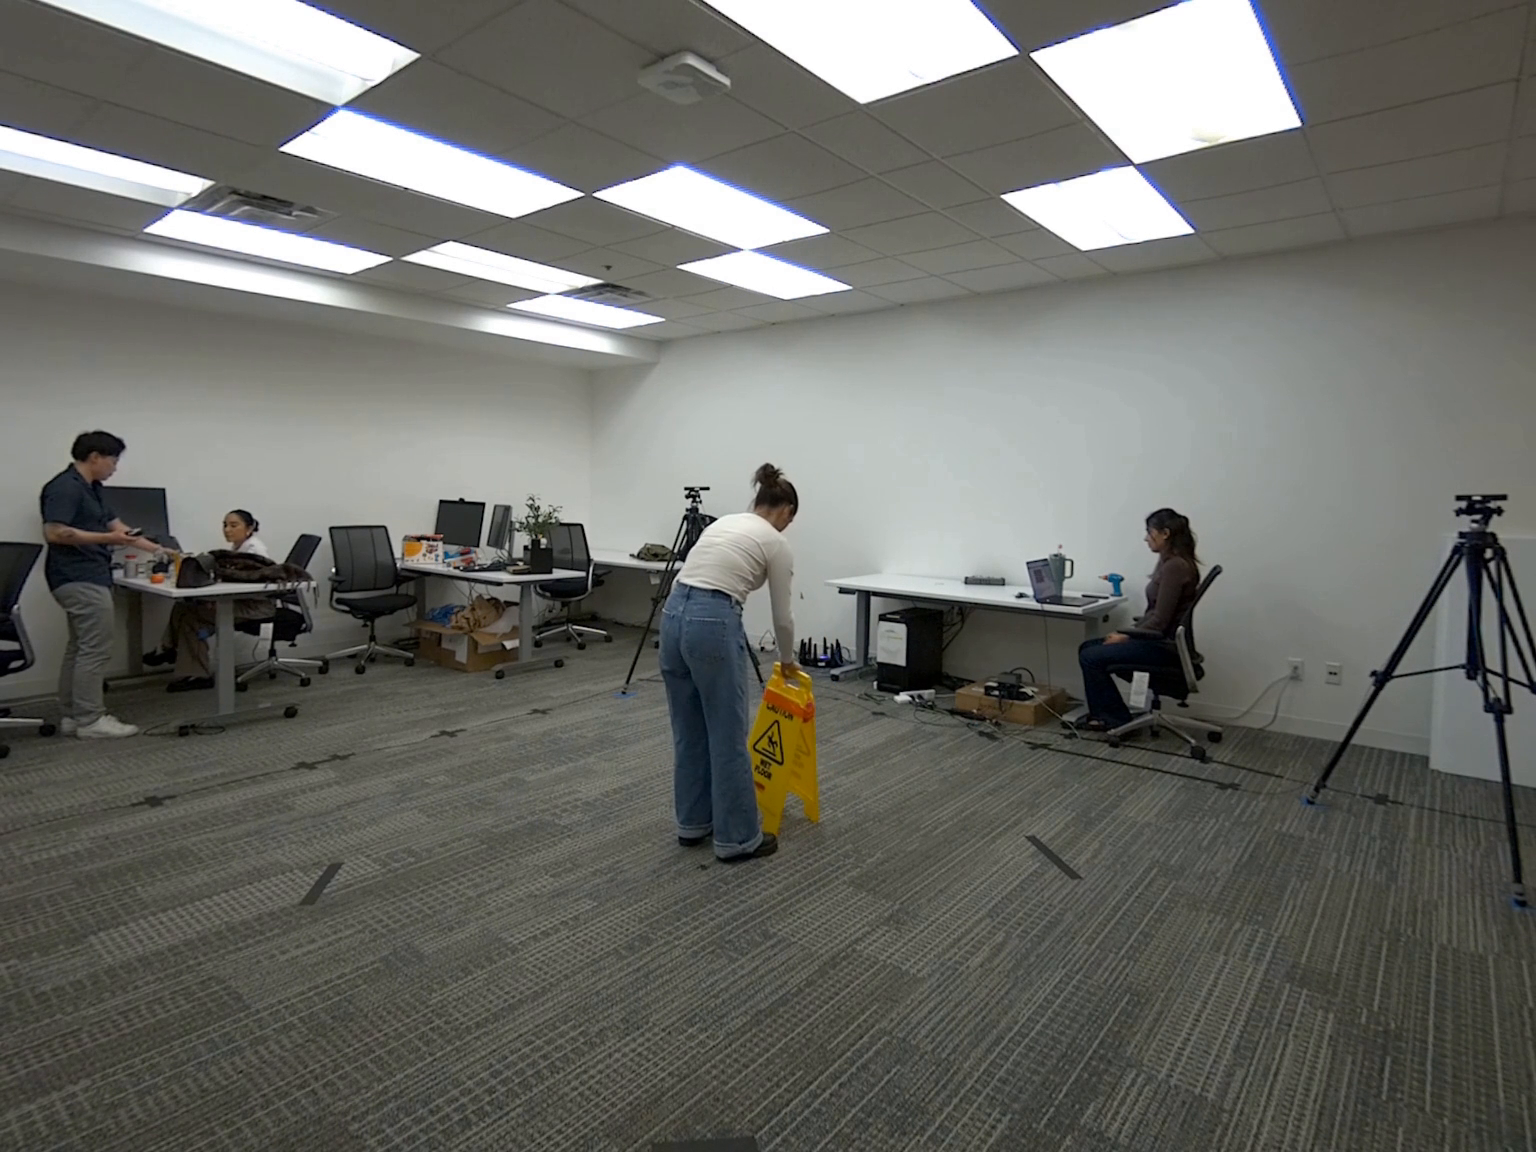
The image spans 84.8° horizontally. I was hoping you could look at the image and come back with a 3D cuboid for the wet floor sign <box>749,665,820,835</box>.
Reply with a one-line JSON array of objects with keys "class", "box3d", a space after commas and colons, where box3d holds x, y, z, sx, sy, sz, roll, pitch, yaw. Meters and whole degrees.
[{"class": "wet floor sign", "box3d": [0.050, 0.690, 3.523, 0.281, 0.641, 0.293, -2, 12, -43]}]
